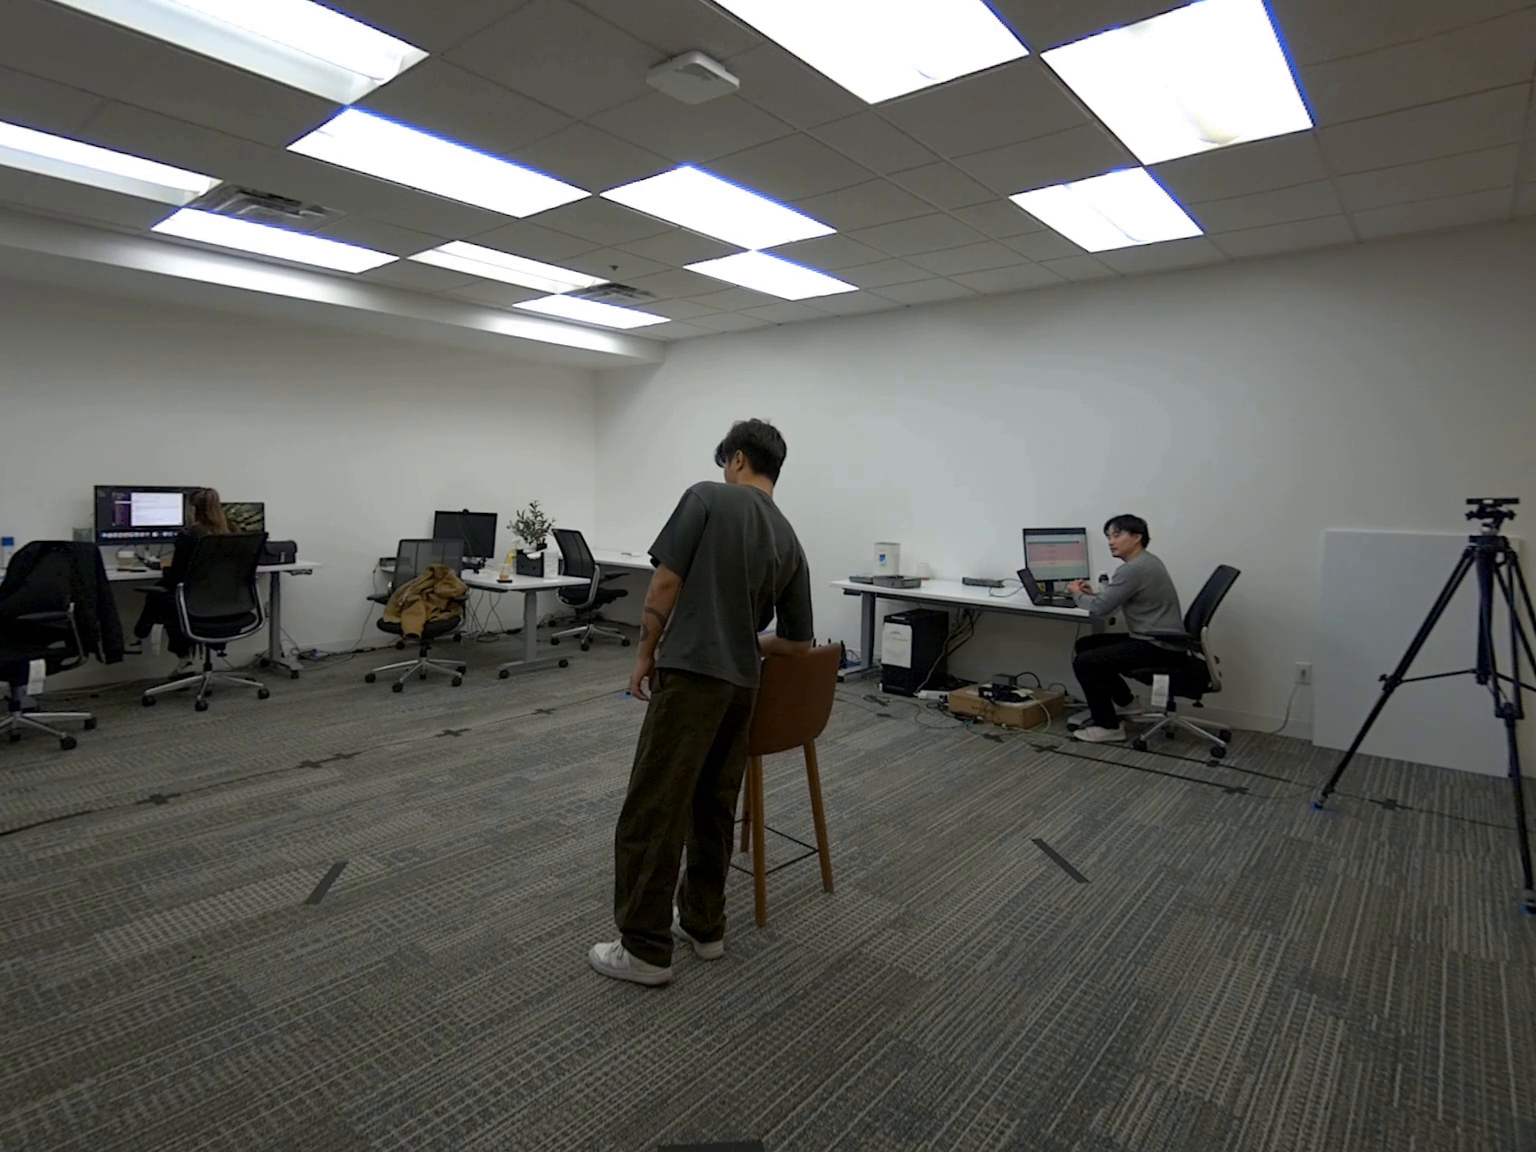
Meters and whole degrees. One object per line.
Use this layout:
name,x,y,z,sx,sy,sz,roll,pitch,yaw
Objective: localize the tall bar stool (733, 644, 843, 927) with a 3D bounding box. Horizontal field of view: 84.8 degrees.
tall bar stool,-0.048,0.648,2.959,0.484,0.886,0.442,7,6,44
